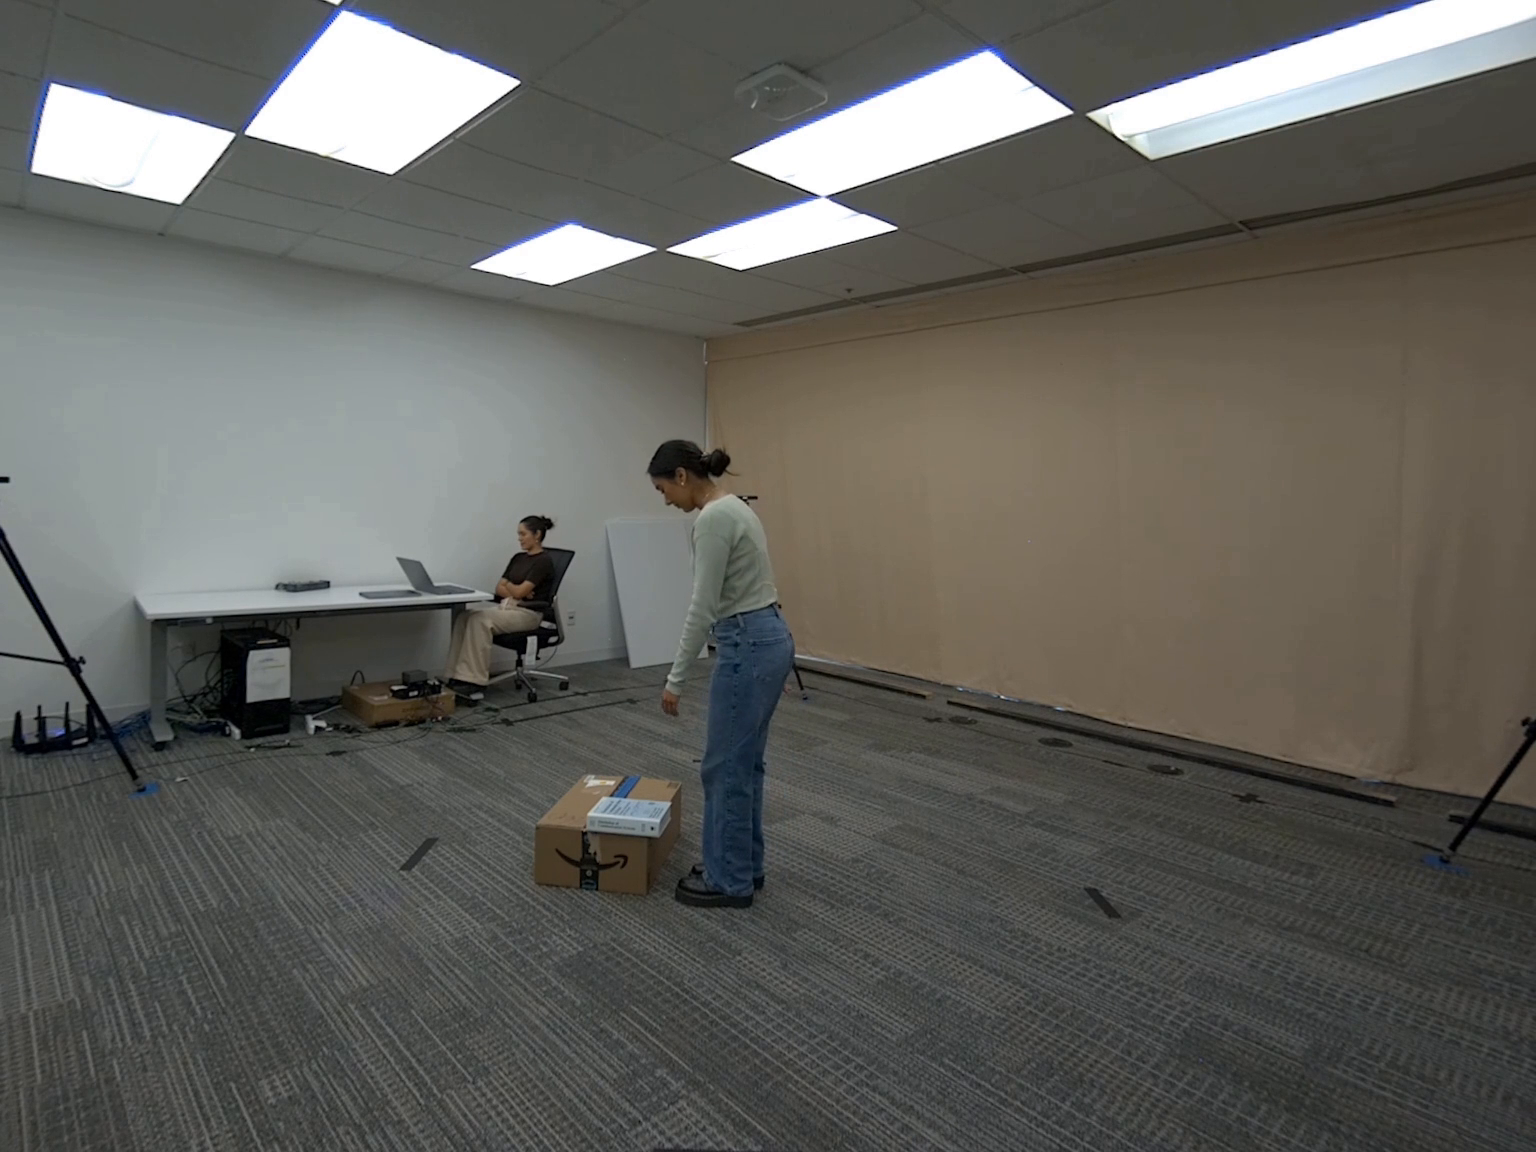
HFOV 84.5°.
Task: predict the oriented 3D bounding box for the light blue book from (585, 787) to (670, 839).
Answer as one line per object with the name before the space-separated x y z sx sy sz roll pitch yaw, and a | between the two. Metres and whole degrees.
light blue book | -0.493 0.852 3.009 0.263 0.059 0.190 2 4 8
